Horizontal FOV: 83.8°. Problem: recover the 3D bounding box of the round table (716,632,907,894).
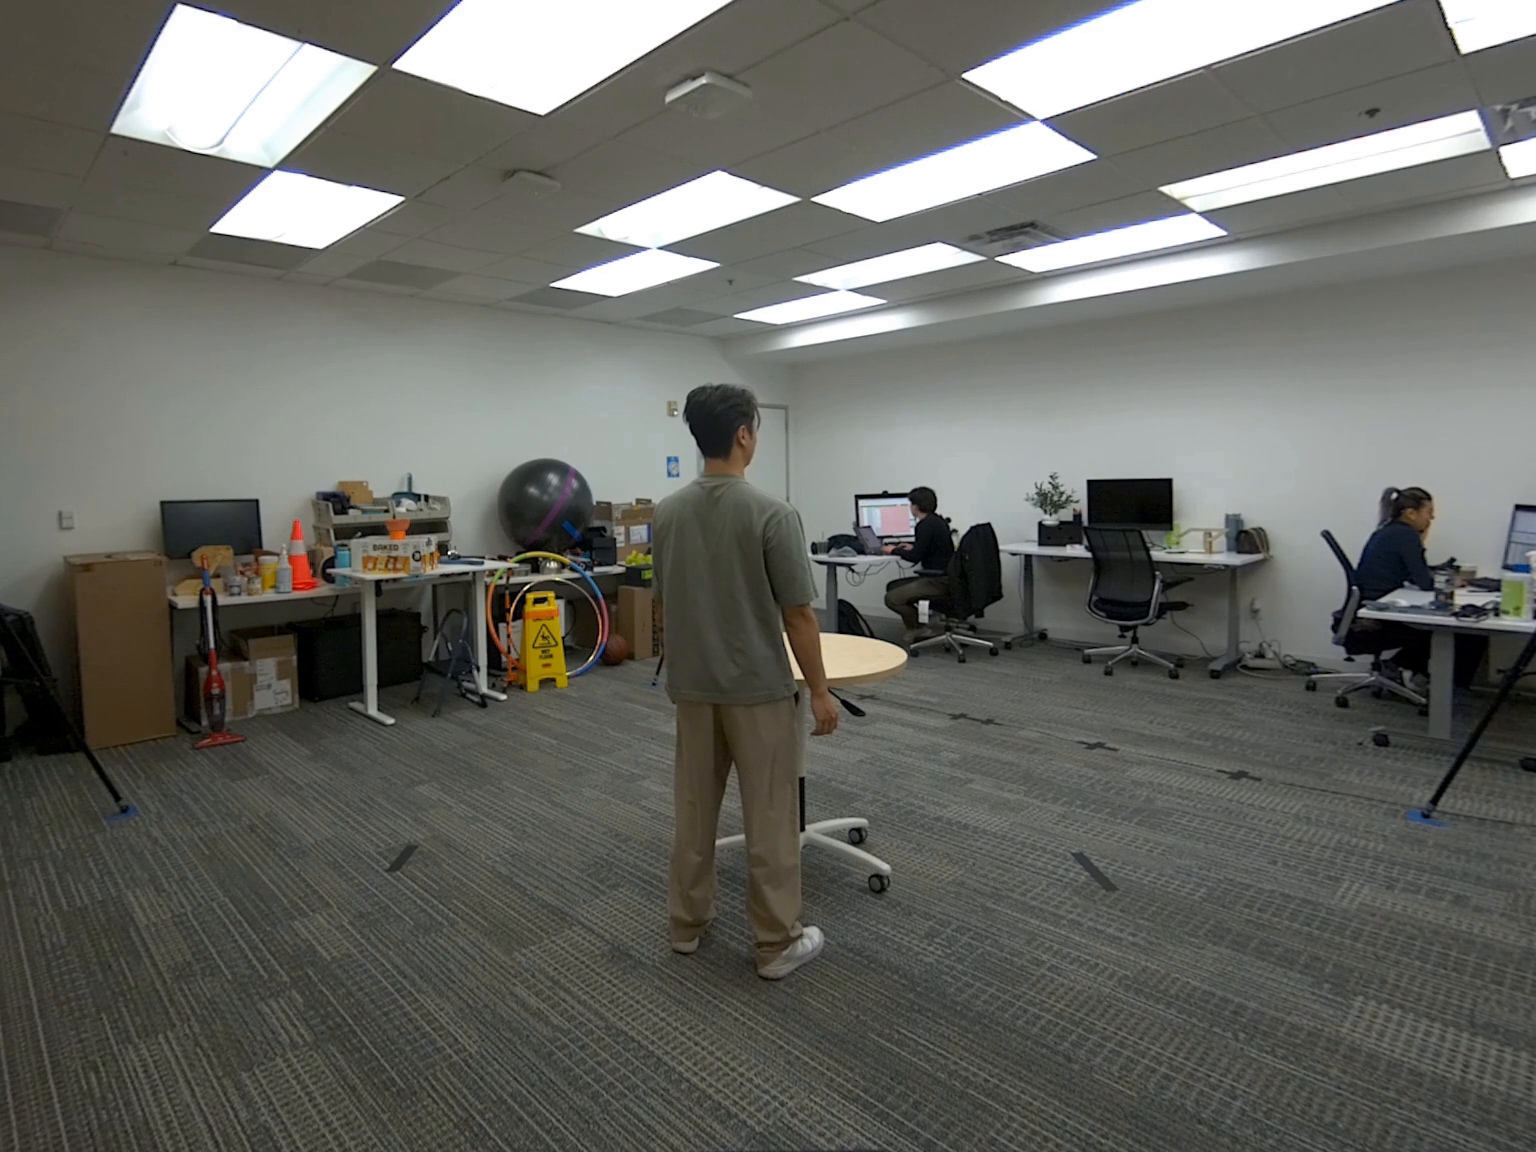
[{"bbox_3d":[0.096,0.659,3.047,0.784,0.783,0.789,-1,5,-2],"label":"round table"}]
